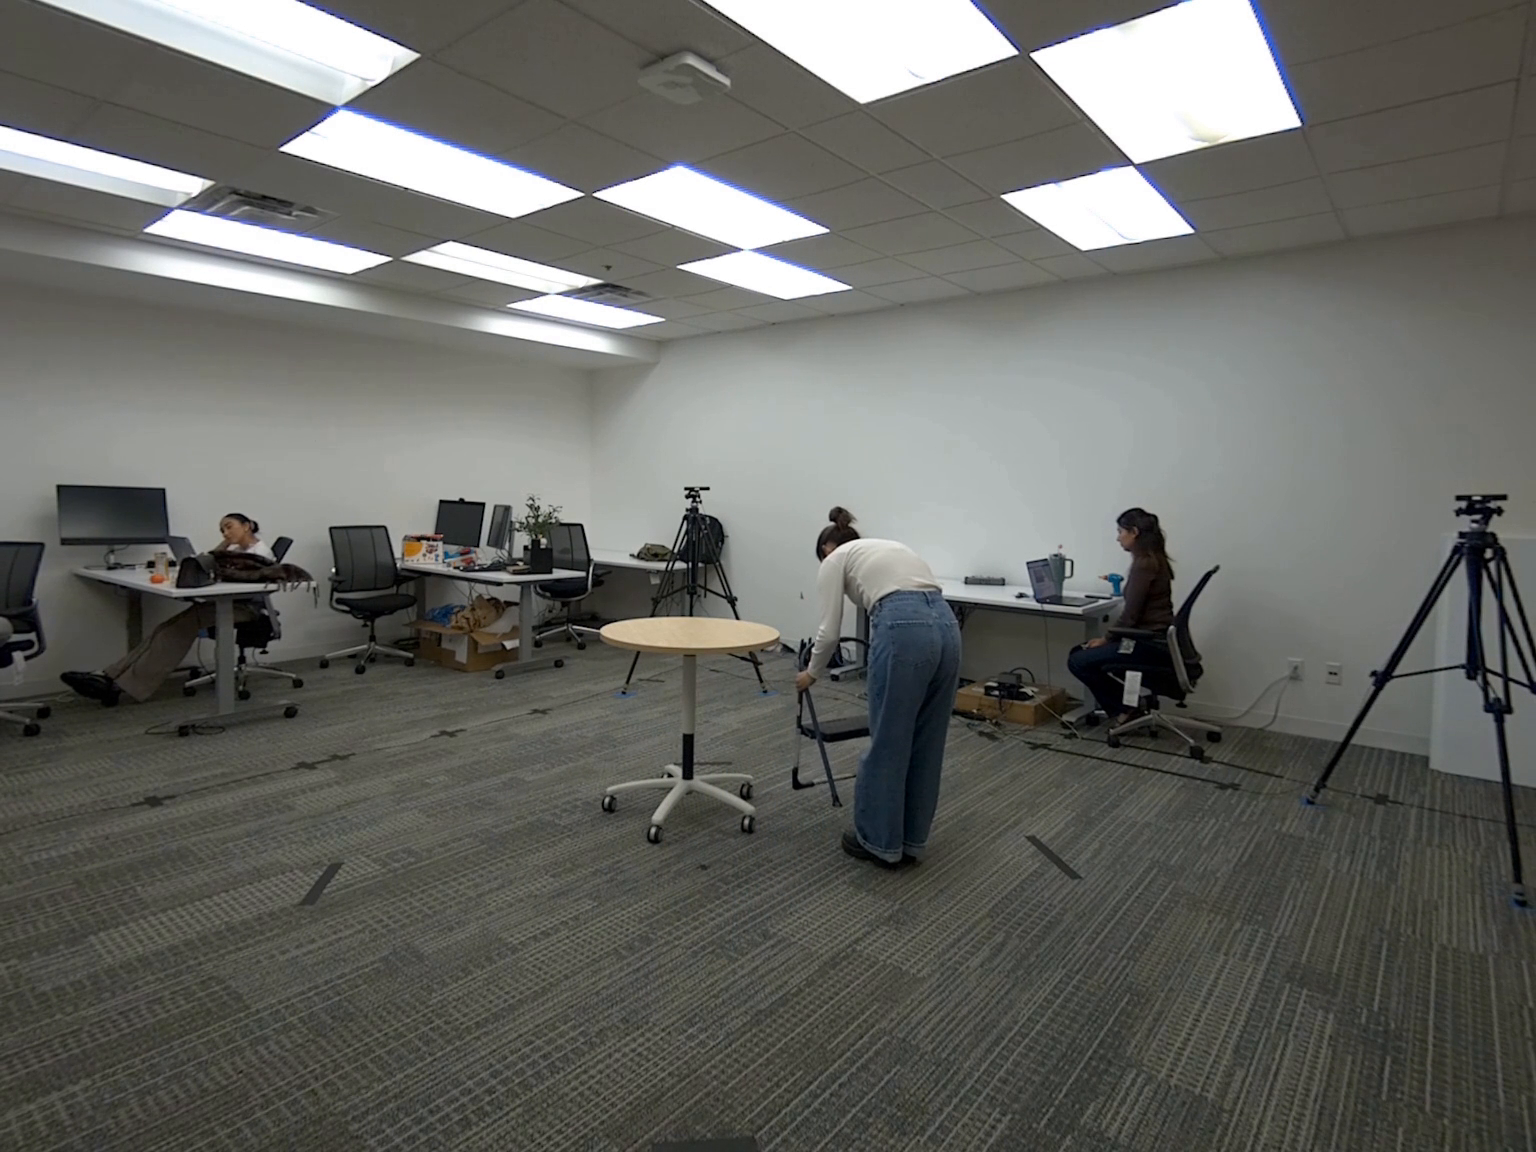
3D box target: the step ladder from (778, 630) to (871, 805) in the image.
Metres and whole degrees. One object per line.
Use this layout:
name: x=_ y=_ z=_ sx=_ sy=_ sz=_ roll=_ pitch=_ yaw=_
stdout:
step ladder: x=0.335 y=0.551 z=3.454 sx=0.420 sy=0.608 sz=0.357 roll=-3 pitch=-3 yaw=-27
